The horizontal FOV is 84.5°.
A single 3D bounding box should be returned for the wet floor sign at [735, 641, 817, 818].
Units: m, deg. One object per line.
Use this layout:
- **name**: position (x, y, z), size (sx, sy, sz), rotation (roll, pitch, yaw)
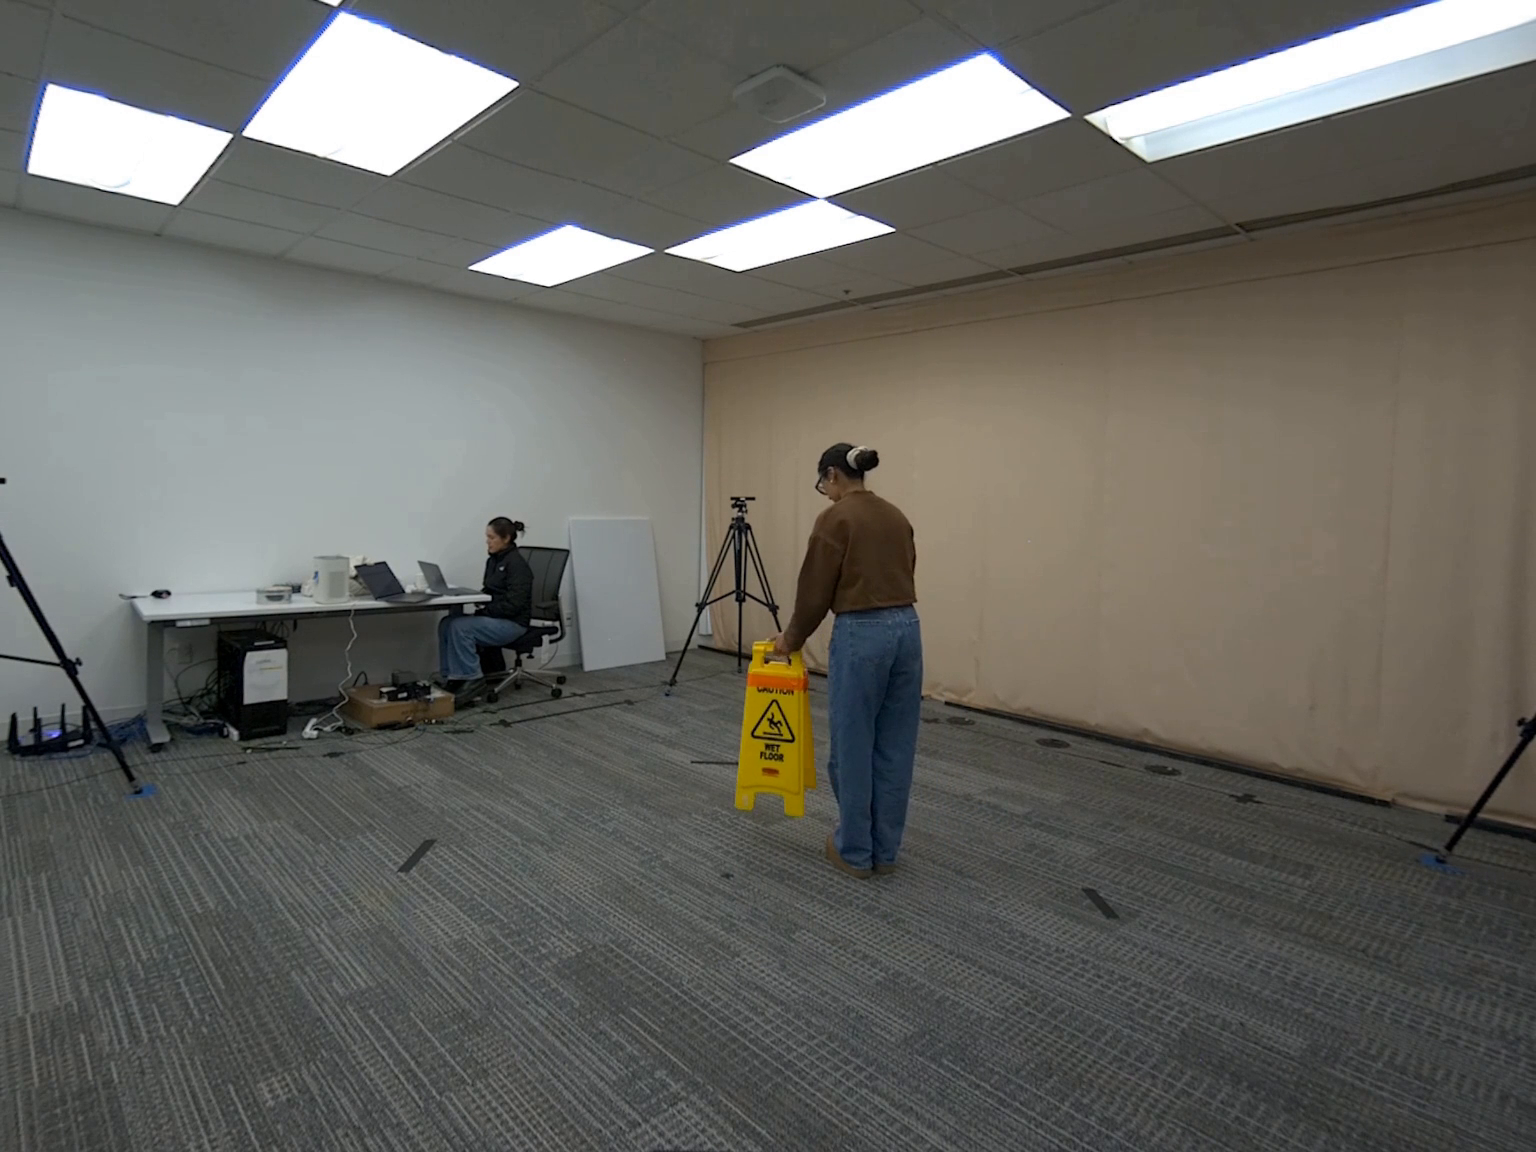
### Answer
- **wet floor sign**: position (0.033, 0.591, 3.373), size (0.285, 0.642, 0.288), rotation (3, 8, 14)
